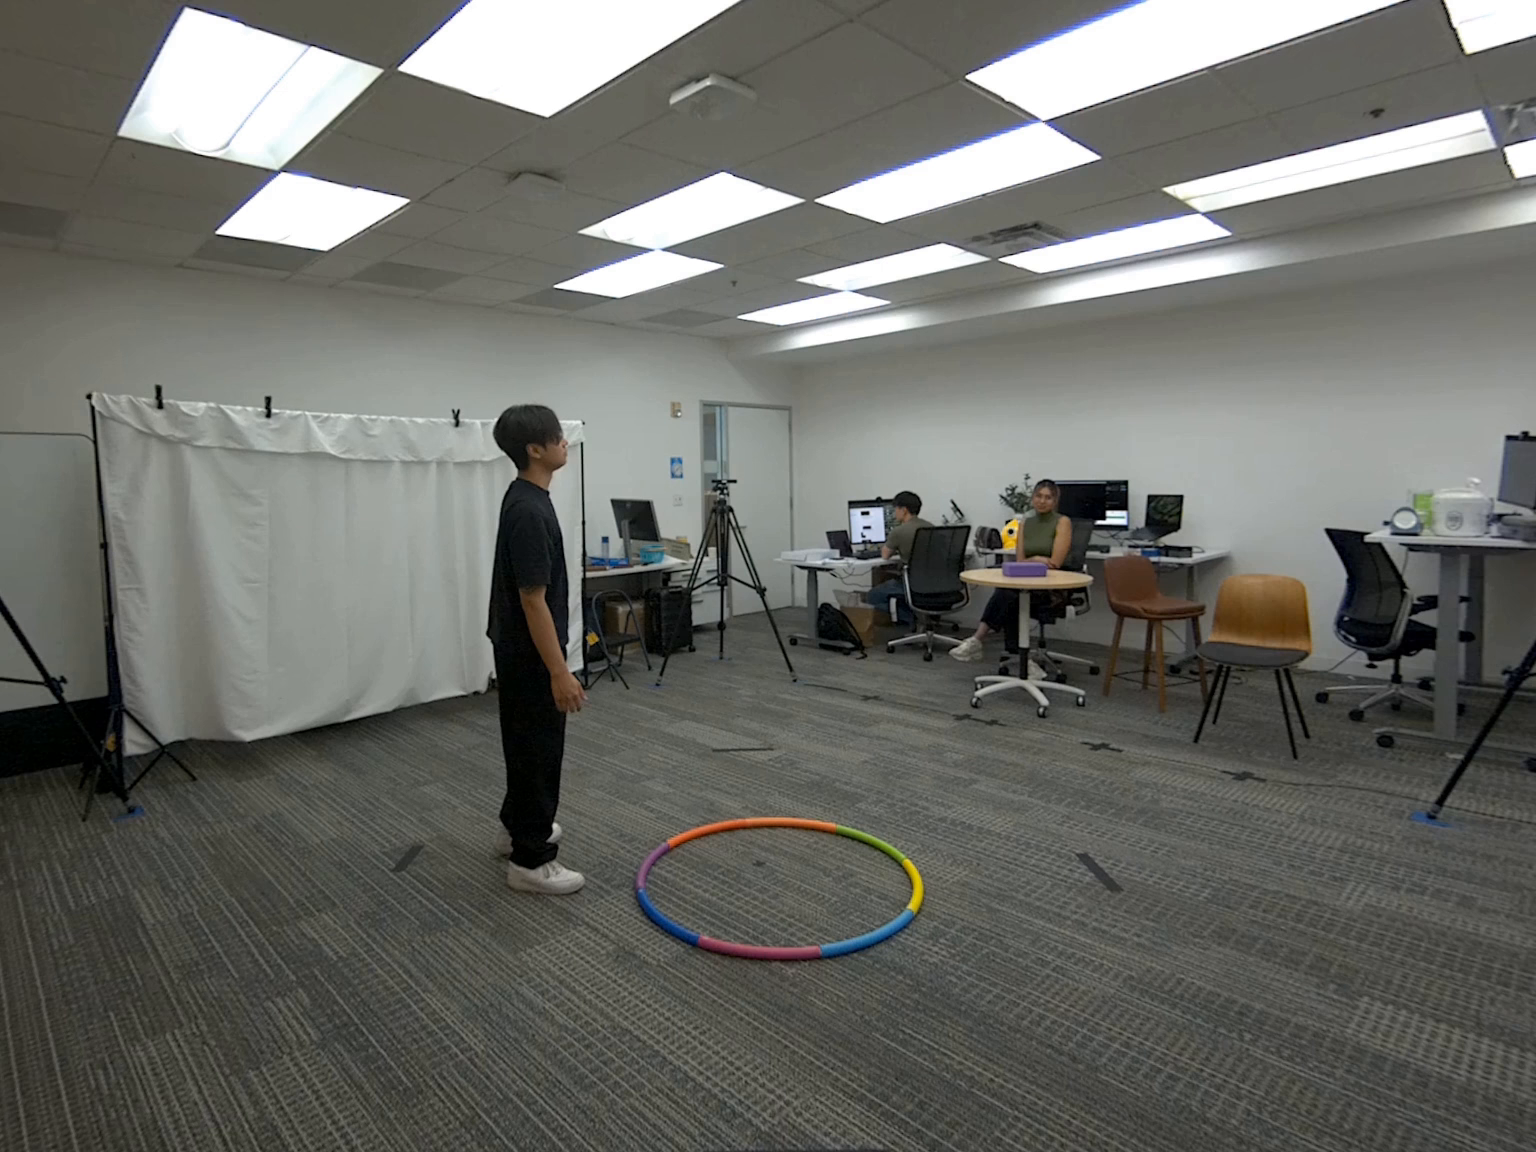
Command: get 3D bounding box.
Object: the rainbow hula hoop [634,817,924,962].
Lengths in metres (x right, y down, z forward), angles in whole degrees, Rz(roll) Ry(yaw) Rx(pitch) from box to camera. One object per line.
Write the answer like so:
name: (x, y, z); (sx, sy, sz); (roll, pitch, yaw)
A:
rainbow hula hoop: (0.032, 1.033, 2.969); (0.978, 0.035, 0.984); (-1, 6, -2)
